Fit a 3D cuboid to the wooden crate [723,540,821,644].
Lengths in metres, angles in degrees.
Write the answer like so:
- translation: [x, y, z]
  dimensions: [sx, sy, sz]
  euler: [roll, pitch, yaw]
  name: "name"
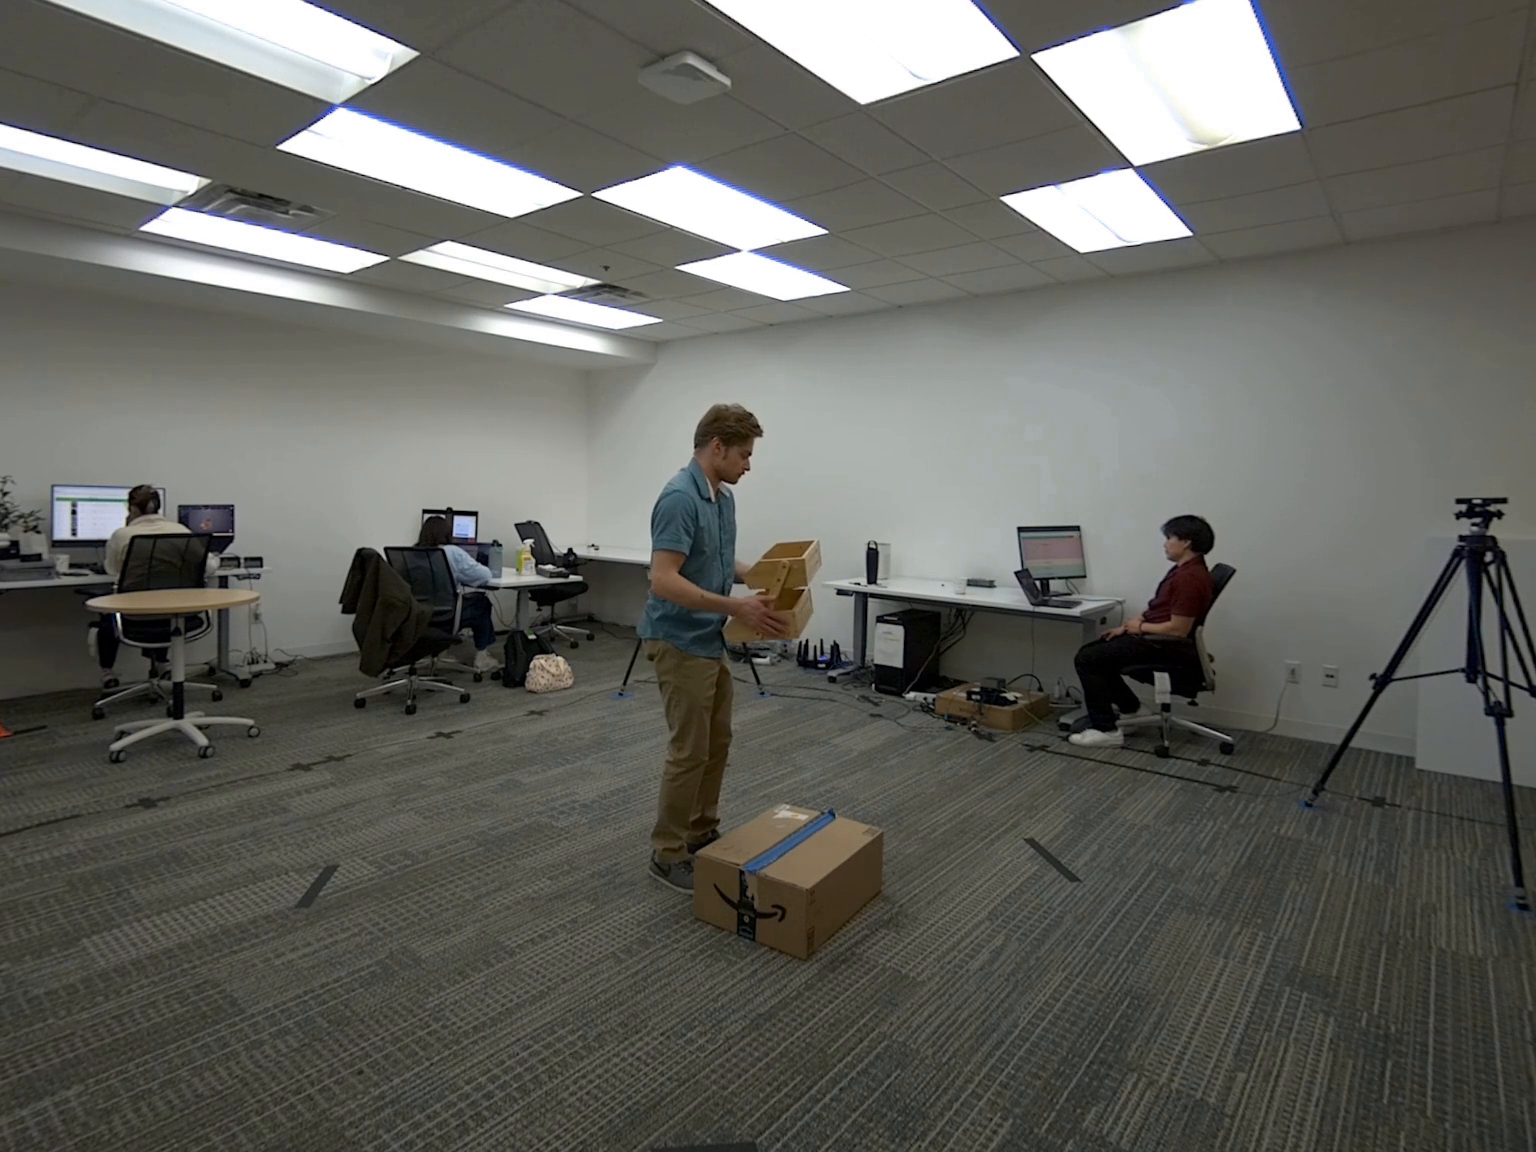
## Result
- translation: [0.002, 0.042, 2.855]
  dimensions: [0.307, 0.270, 0.323]
  euler: [-4, 11, 15]
  name: "wooden crate"
